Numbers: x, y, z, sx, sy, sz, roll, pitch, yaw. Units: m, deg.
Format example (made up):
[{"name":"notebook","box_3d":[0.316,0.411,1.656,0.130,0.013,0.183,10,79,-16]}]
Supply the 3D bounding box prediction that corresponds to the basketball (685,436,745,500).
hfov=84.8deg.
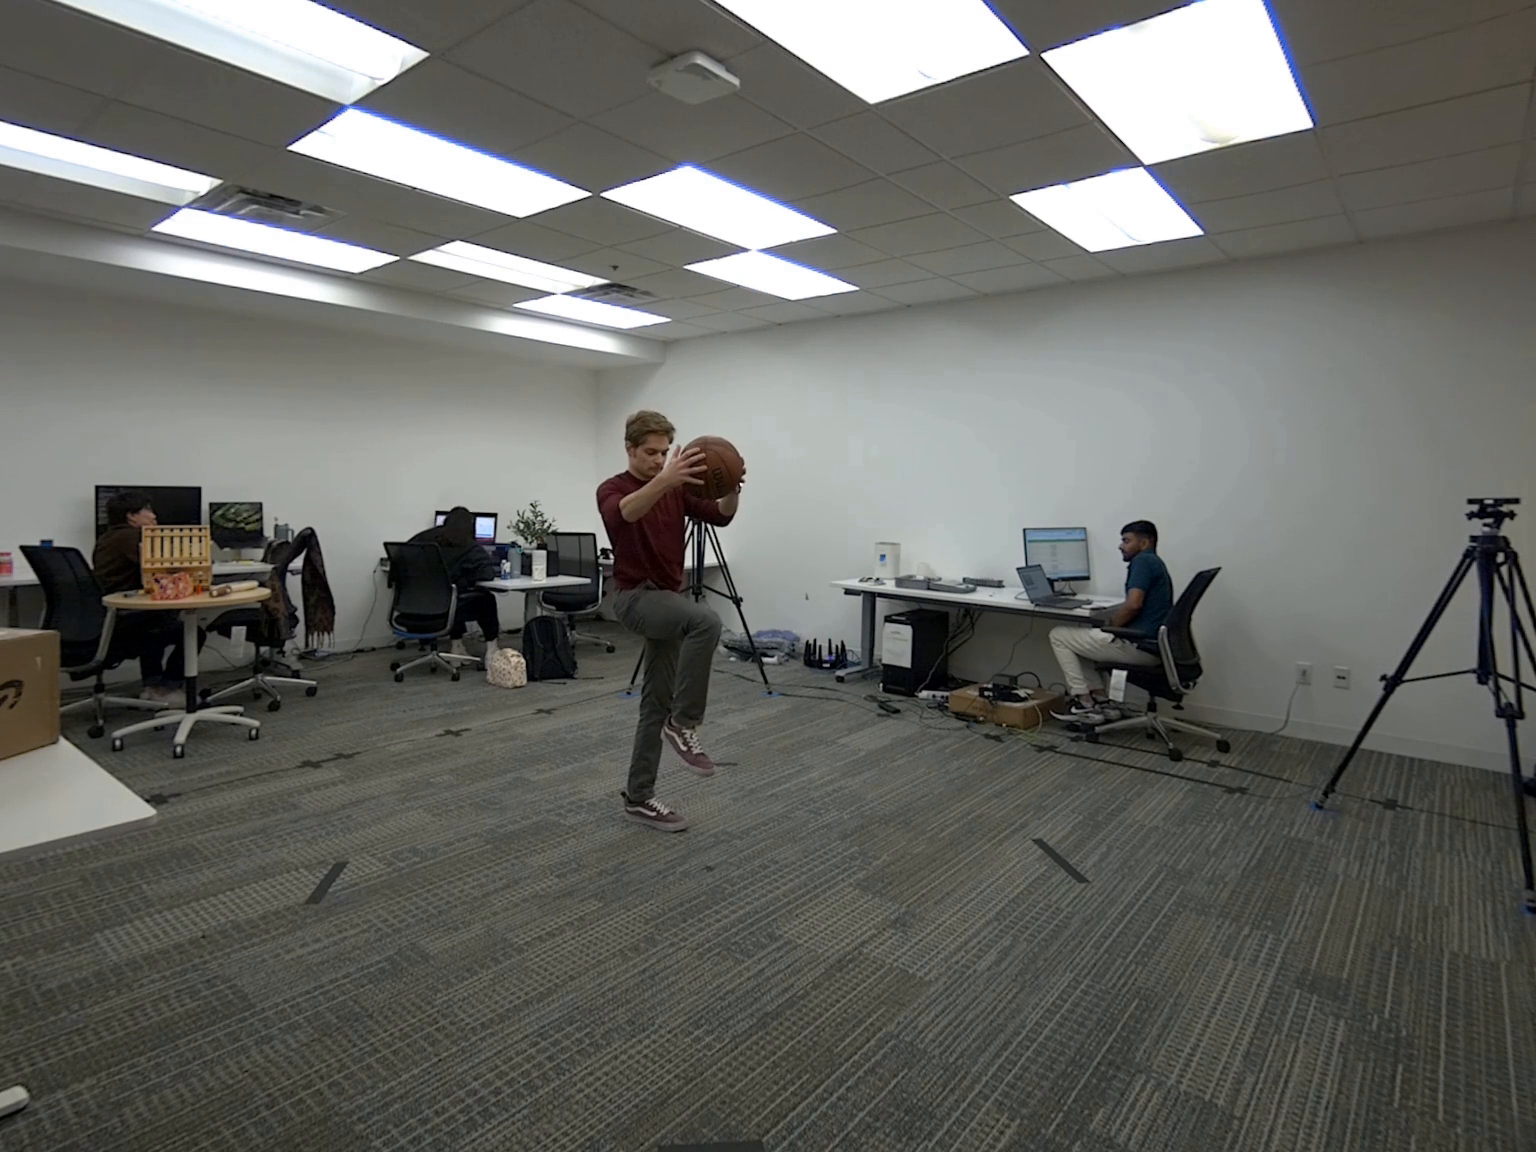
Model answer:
[{"name":"basketball","box_3d":[-0.219,-0.373,3.127,0.235,0.235,0.237,1,4,-2]}]
